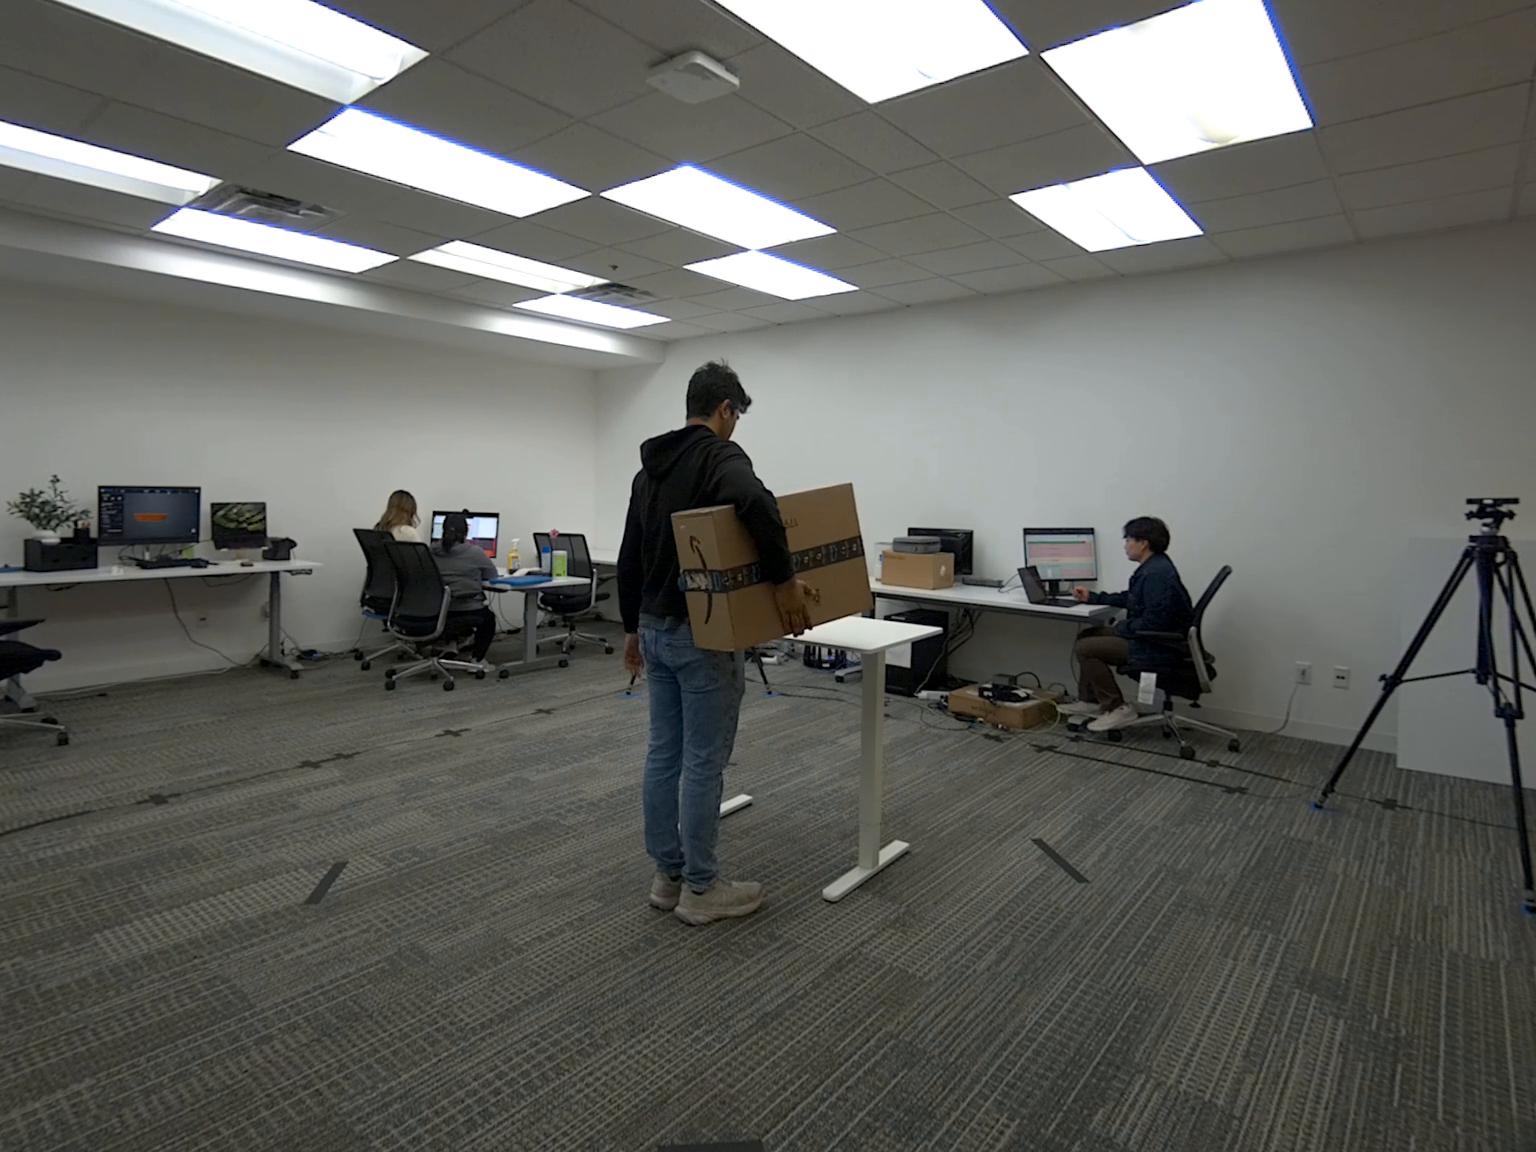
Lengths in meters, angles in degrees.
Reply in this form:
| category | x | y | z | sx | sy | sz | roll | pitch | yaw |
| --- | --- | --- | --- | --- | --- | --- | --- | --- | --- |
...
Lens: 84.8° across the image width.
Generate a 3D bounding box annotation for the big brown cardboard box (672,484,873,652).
| category | x | y | z | sx | sy | sz | roll | pitch | yaw |
| --- | --- | --- | --- | --- | --- | --- | --- | --- | --- |
| big brown cardboard box | 0.008 | -0.040 | 2.654 | 0.576 | 0.416 | 0.239 | -13 | 5 | -33 |
